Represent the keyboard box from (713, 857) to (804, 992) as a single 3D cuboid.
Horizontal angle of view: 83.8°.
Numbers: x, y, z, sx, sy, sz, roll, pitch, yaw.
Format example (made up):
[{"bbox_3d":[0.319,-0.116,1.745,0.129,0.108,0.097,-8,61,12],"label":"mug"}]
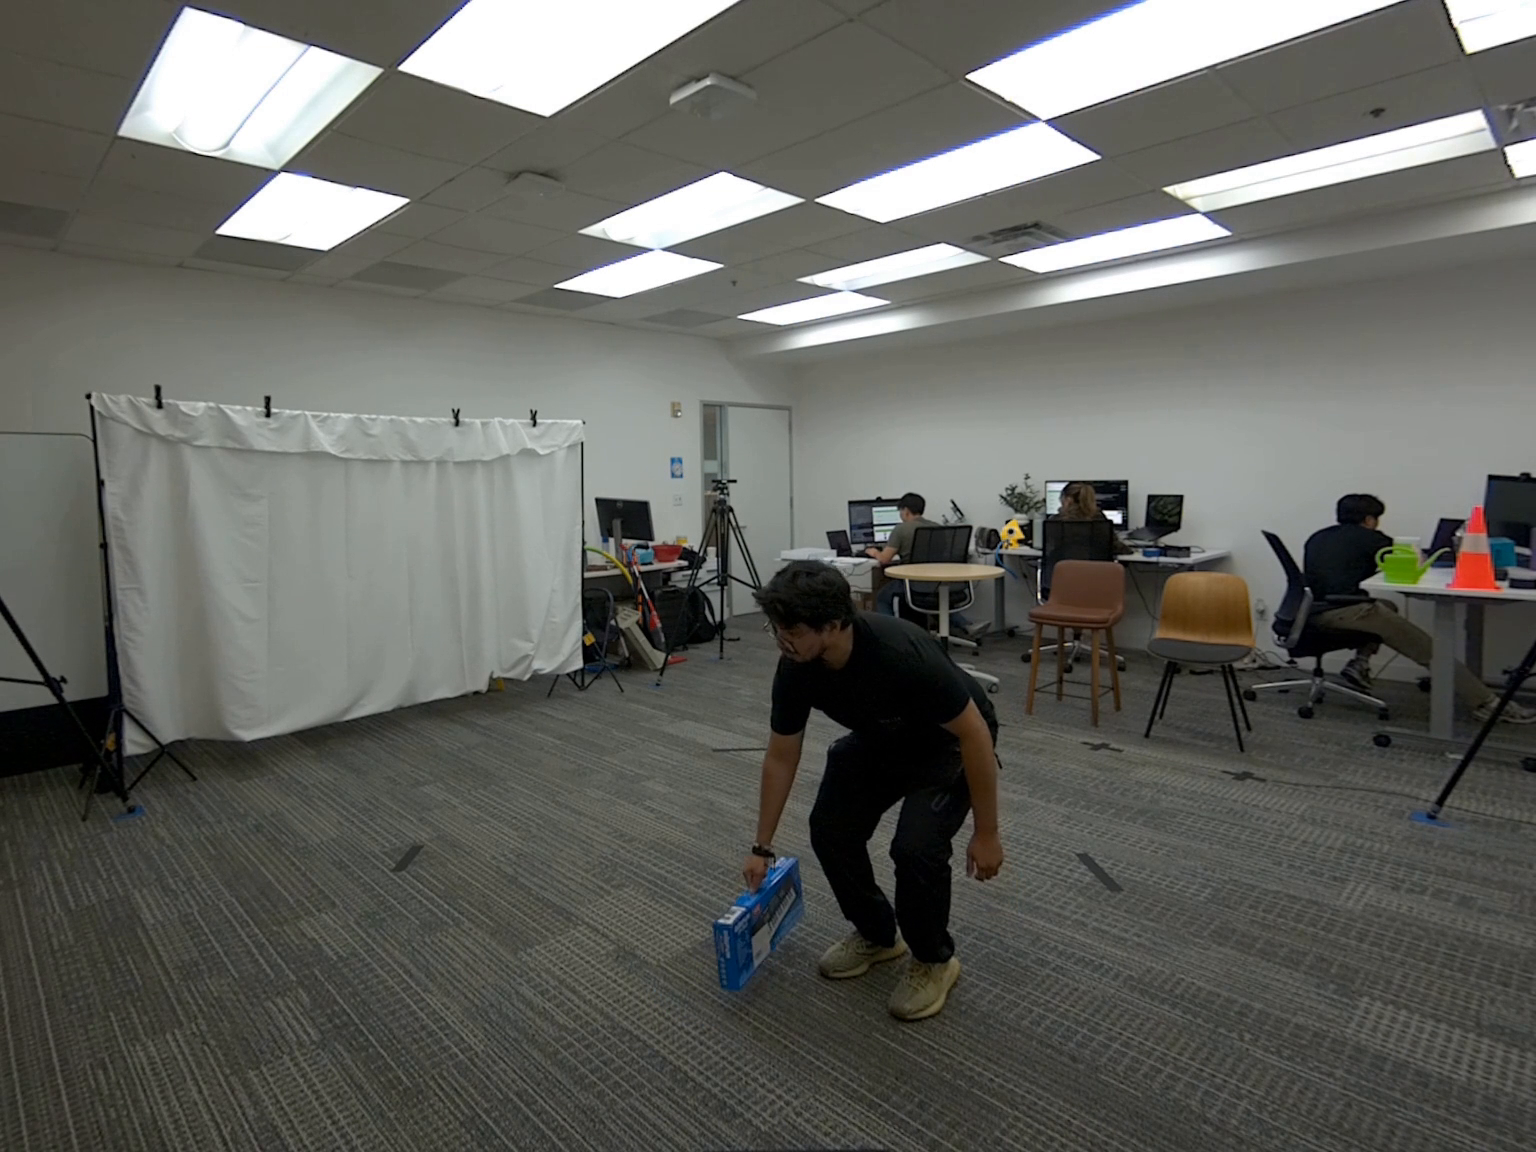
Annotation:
[{"bbox_3d":[-0.019,0.966,2.406,0.060,0.175,0.428,-5,4,26],"label":"keyboard box"}]
